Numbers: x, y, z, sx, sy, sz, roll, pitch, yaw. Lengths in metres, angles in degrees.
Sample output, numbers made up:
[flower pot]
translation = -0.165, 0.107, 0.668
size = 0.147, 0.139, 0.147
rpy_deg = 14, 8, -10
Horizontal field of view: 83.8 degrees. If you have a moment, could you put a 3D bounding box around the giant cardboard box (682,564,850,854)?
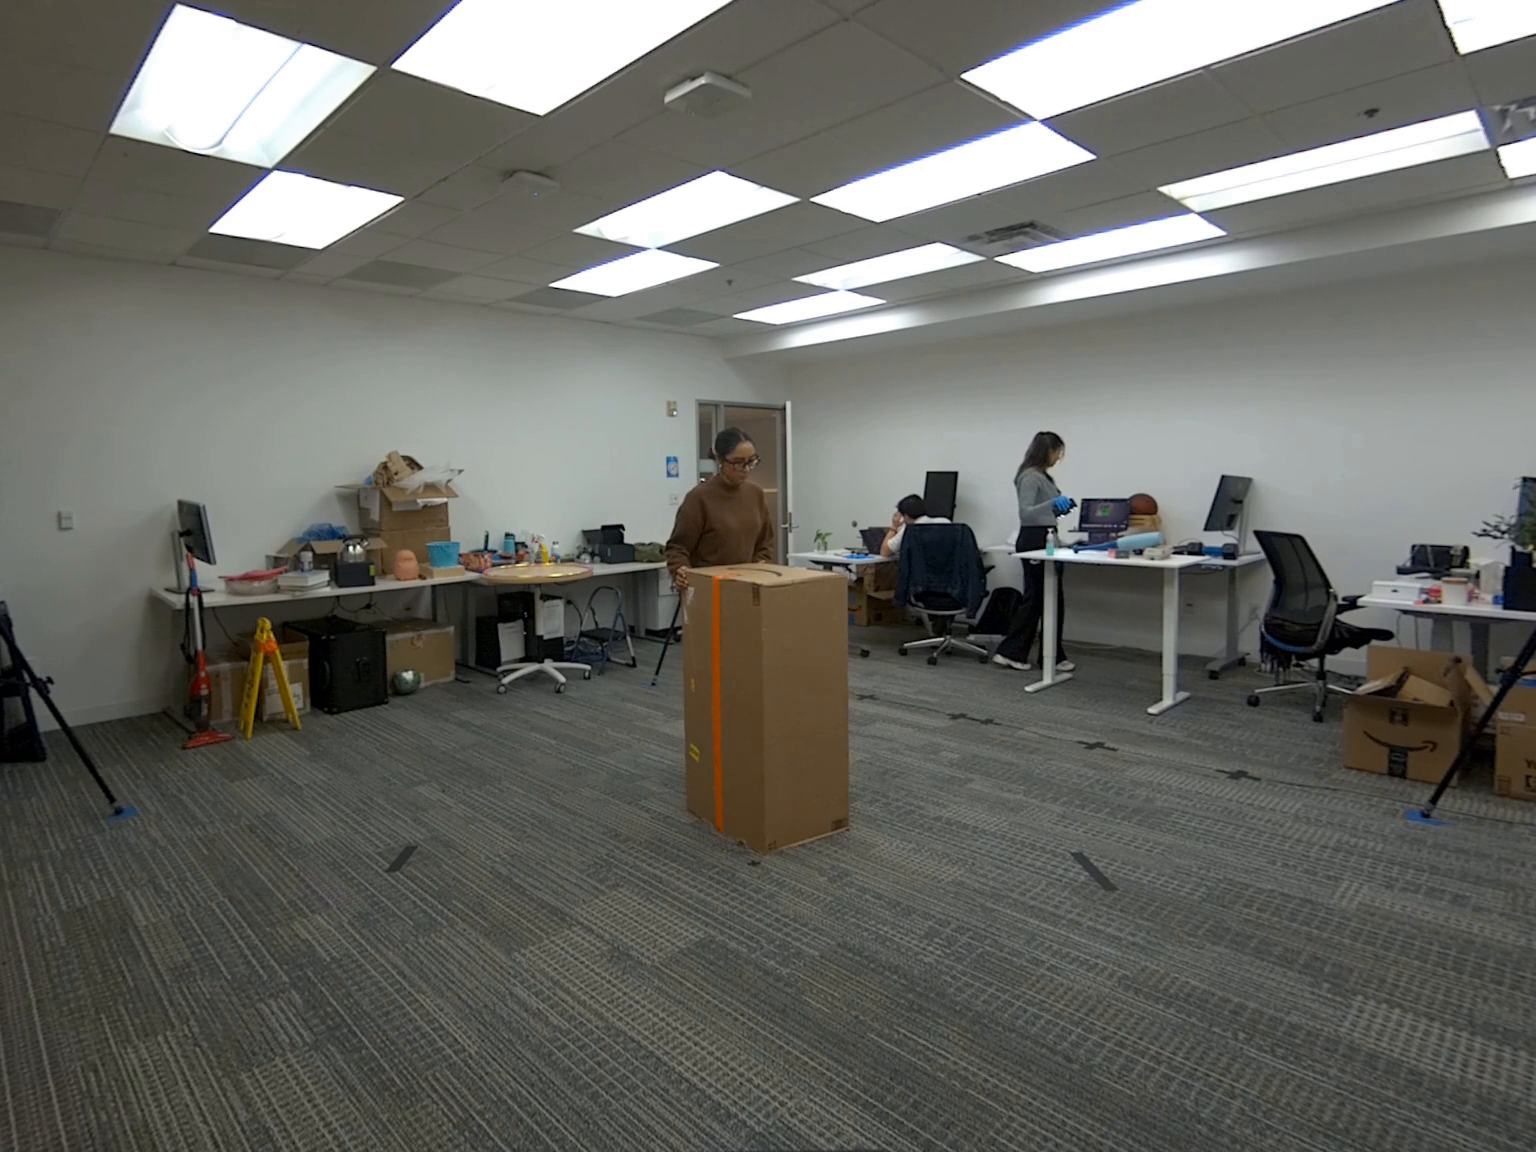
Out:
[giant cardboard box]
translation = -0.017, 0.493, 3.474
size = 0.415, 1.022, 0.594
rpy_deg = -4, 5, -34
